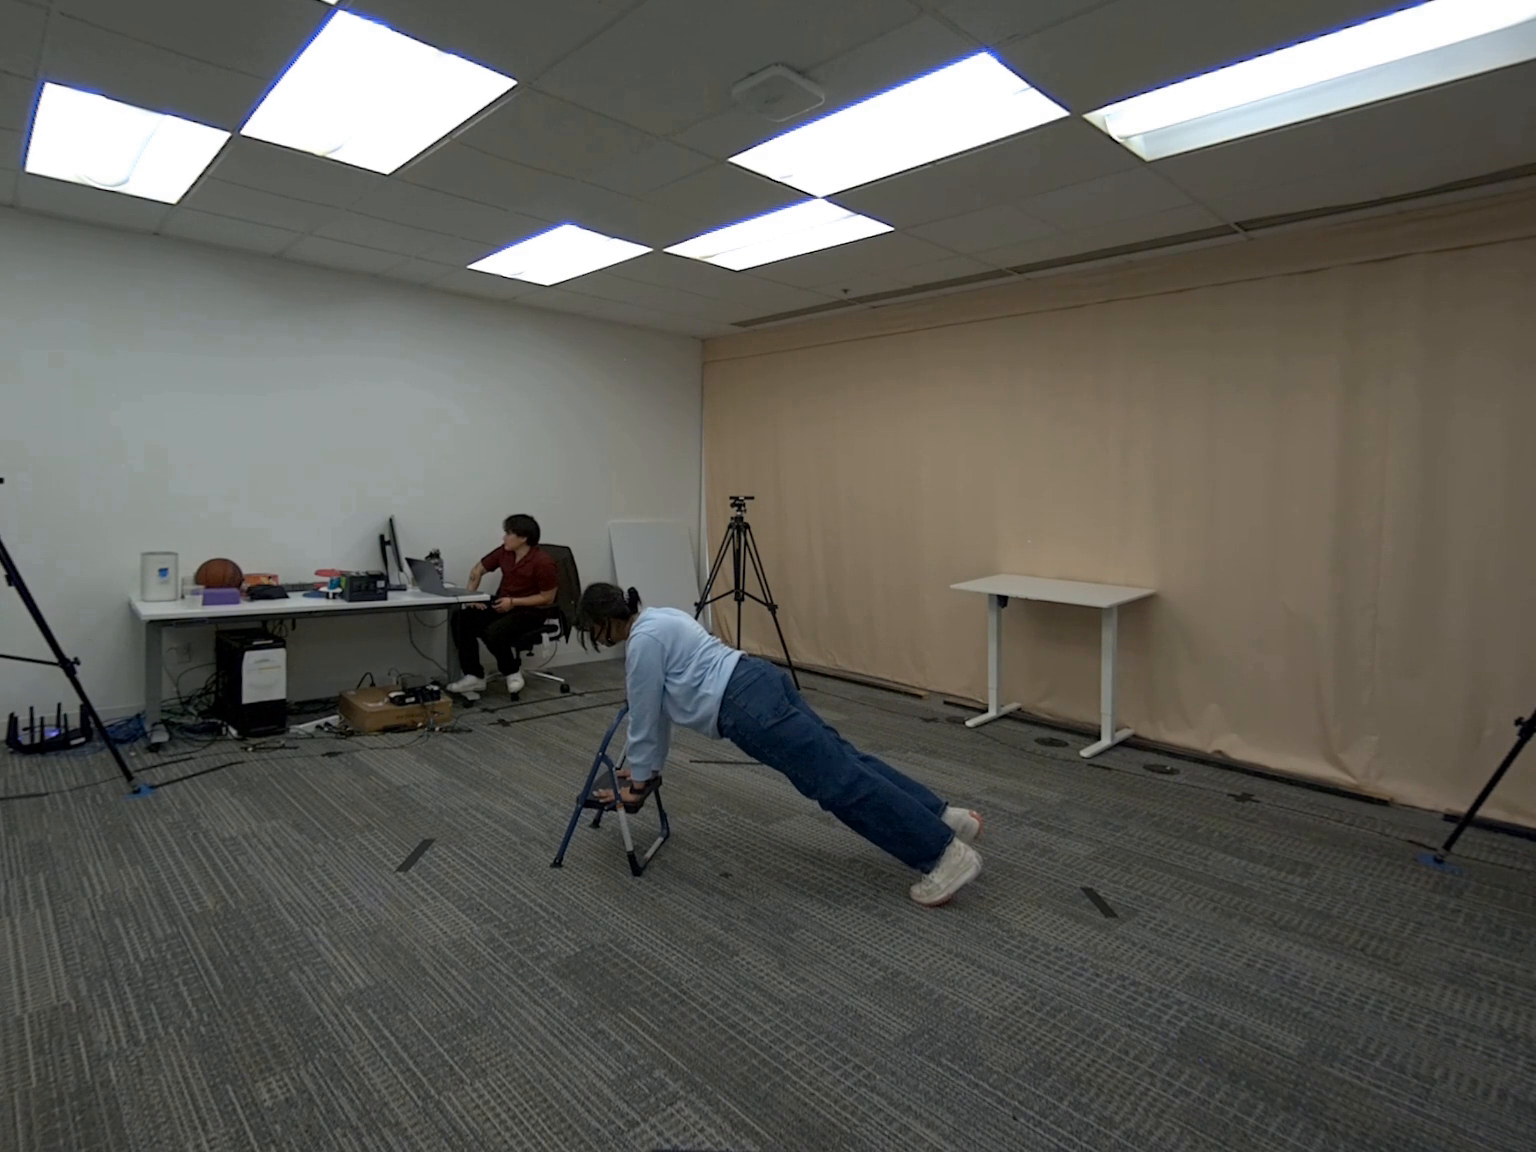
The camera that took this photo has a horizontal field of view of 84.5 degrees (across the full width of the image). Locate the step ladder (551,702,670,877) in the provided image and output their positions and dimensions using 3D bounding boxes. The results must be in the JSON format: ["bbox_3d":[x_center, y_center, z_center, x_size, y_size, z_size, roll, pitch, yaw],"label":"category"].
[{"bbox_3d":[-0.601,0.773,3.291,0.352,0.604,0.428,2,4,10],"label":"step ladder"}]
